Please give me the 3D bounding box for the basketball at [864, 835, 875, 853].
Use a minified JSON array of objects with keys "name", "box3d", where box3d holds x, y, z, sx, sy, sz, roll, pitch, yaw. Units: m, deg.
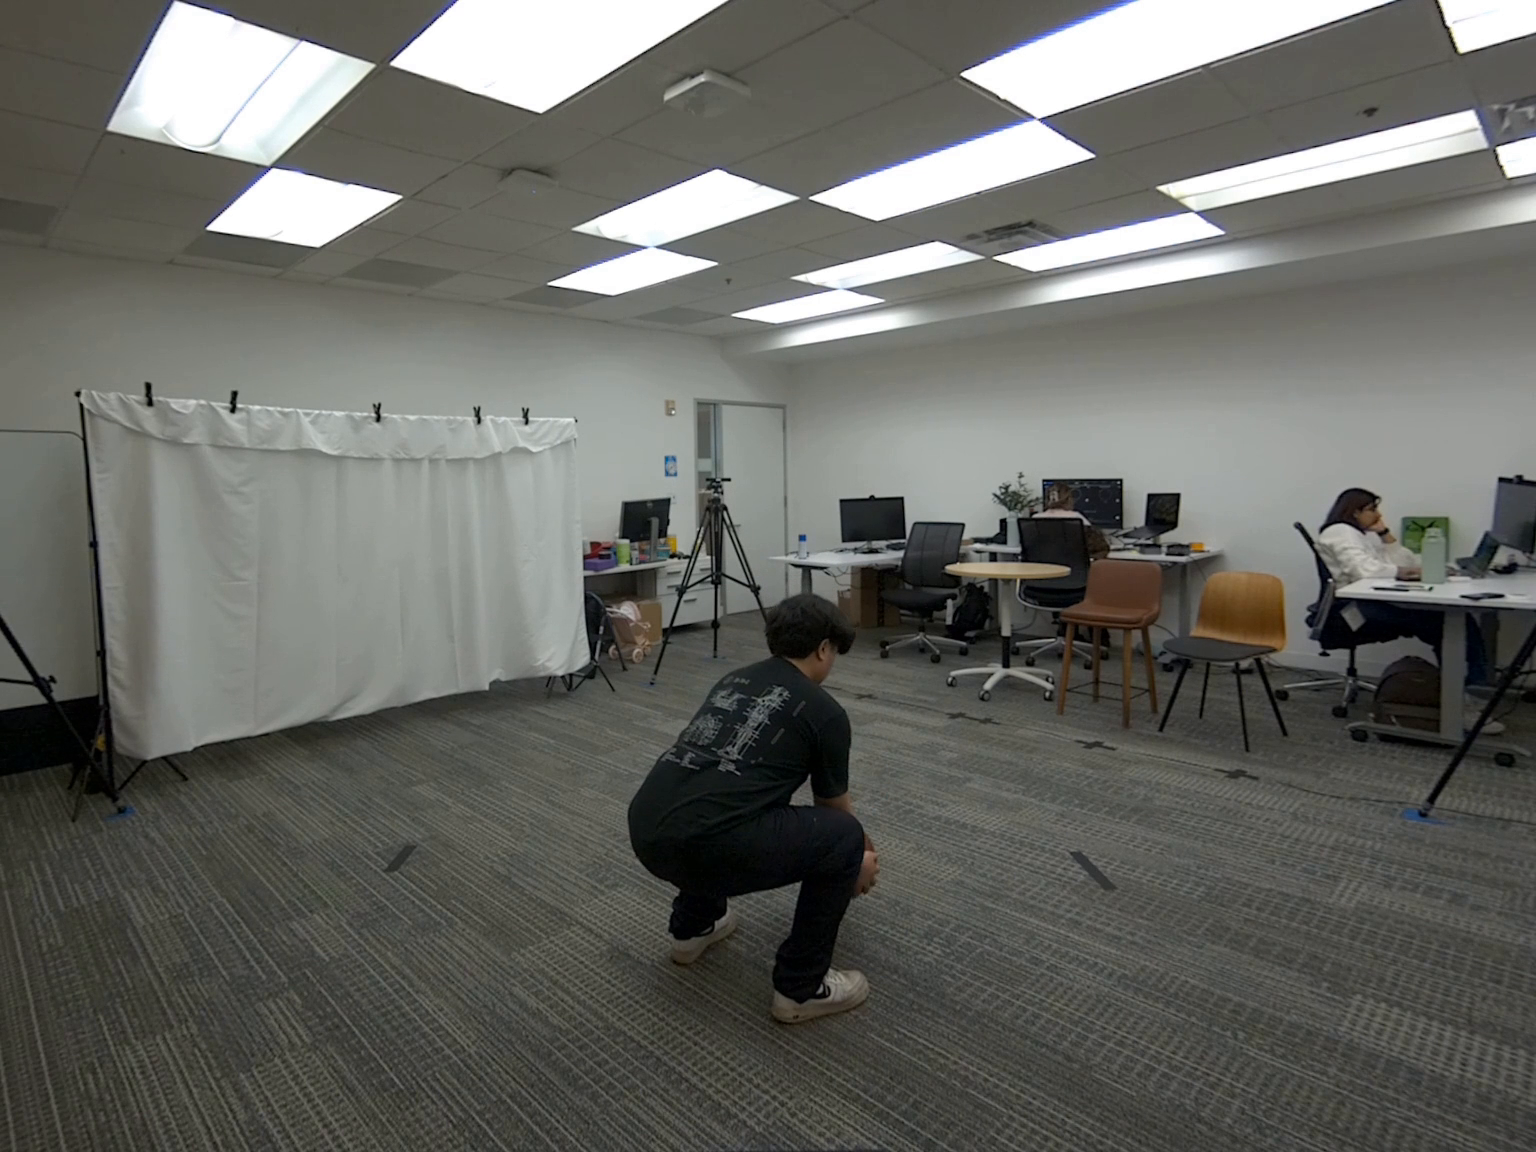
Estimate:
[{"name":"basketball","box3d":[0.230,0.878,2.660,0.236,0.235,0.237,-1,5,-2]}]
